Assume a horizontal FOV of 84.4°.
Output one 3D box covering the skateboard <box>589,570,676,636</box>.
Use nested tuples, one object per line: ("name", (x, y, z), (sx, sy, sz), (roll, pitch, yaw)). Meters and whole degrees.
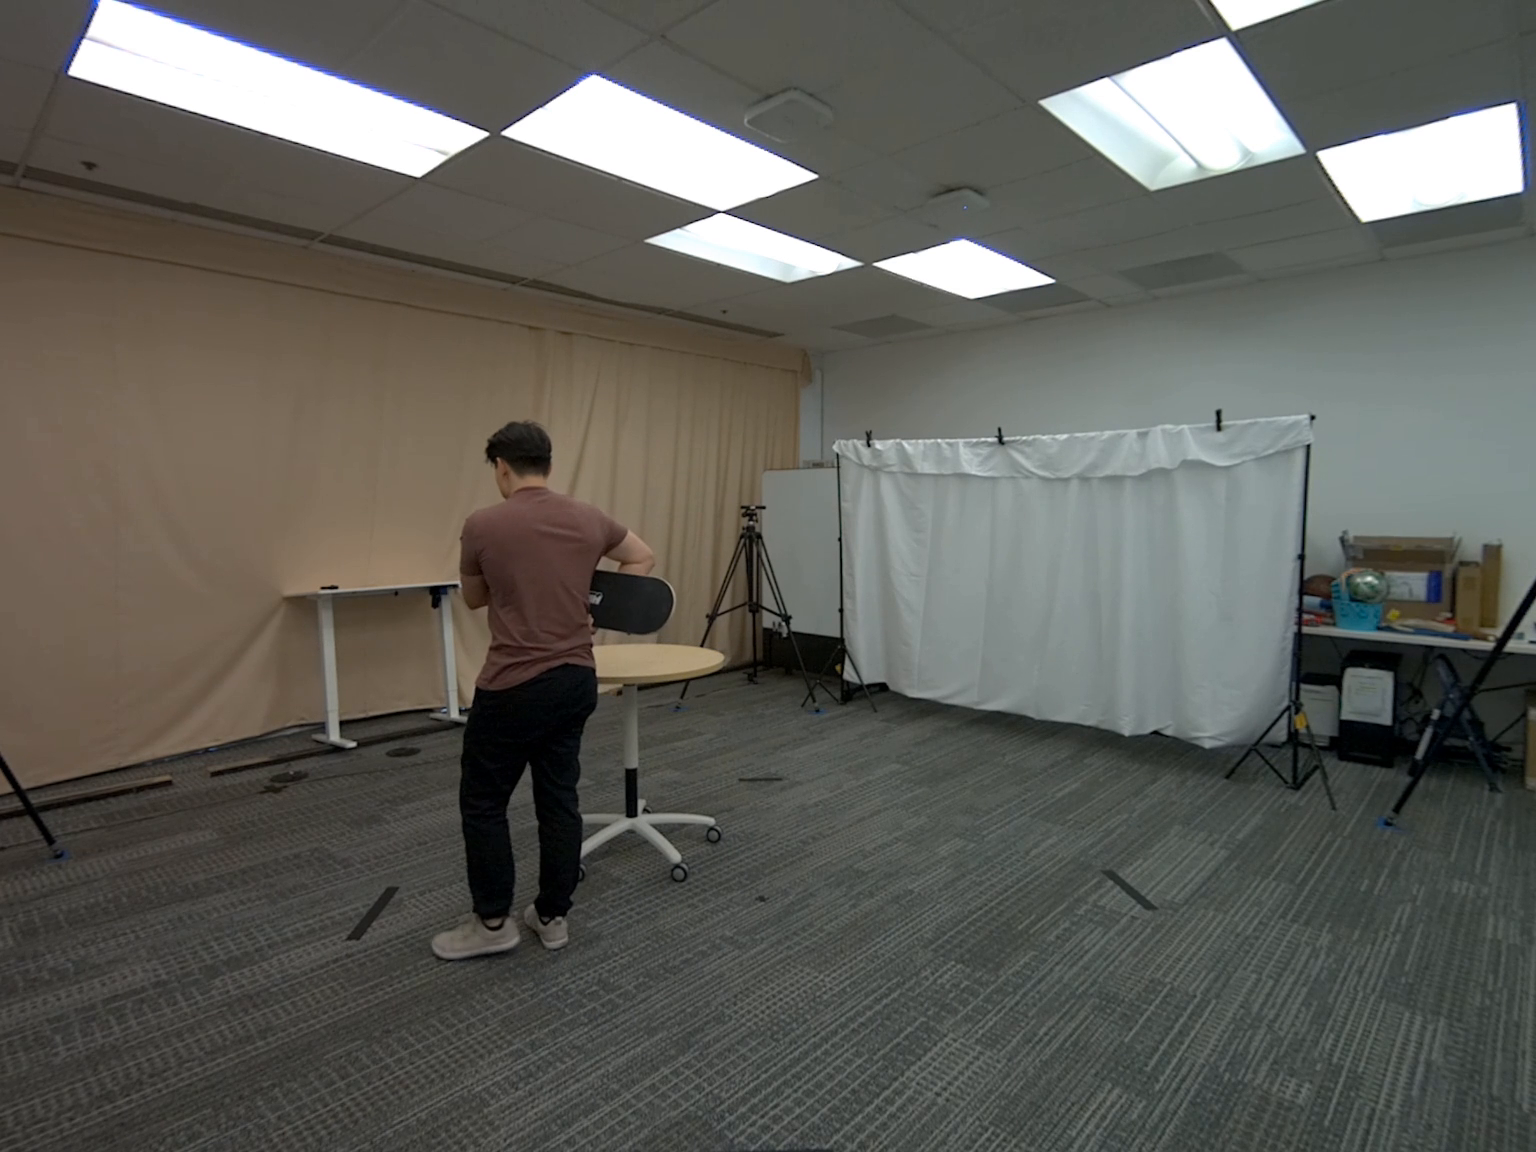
("skateboard", (-0.632, 0.074, 2.863), (0.808, 0.194, 0.107), (7, -10, 27))
